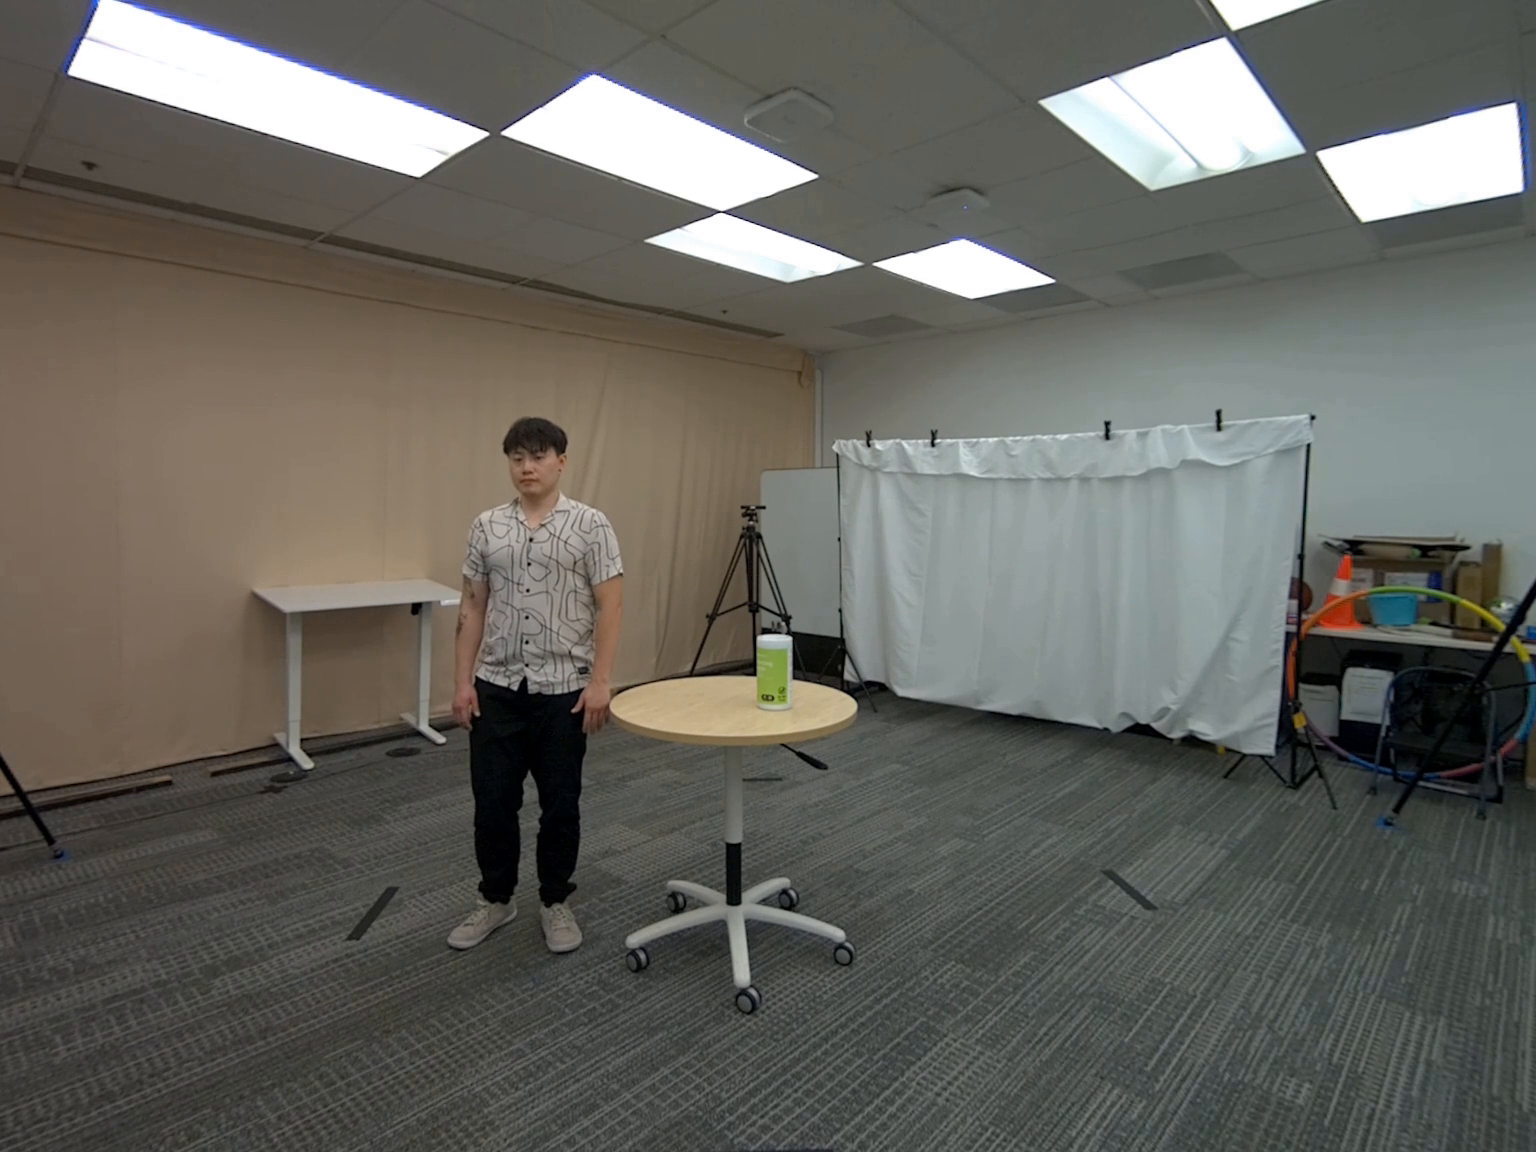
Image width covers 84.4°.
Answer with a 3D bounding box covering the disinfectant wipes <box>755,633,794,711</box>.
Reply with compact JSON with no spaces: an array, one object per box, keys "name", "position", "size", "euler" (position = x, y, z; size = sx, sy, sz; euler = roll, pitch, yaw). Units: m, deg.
[{"name":"disinfectant wipes","position":[0.023,0.294,2.544],"size":[0.118,0.217,0.118],"euler":[1,3,-2]}]
